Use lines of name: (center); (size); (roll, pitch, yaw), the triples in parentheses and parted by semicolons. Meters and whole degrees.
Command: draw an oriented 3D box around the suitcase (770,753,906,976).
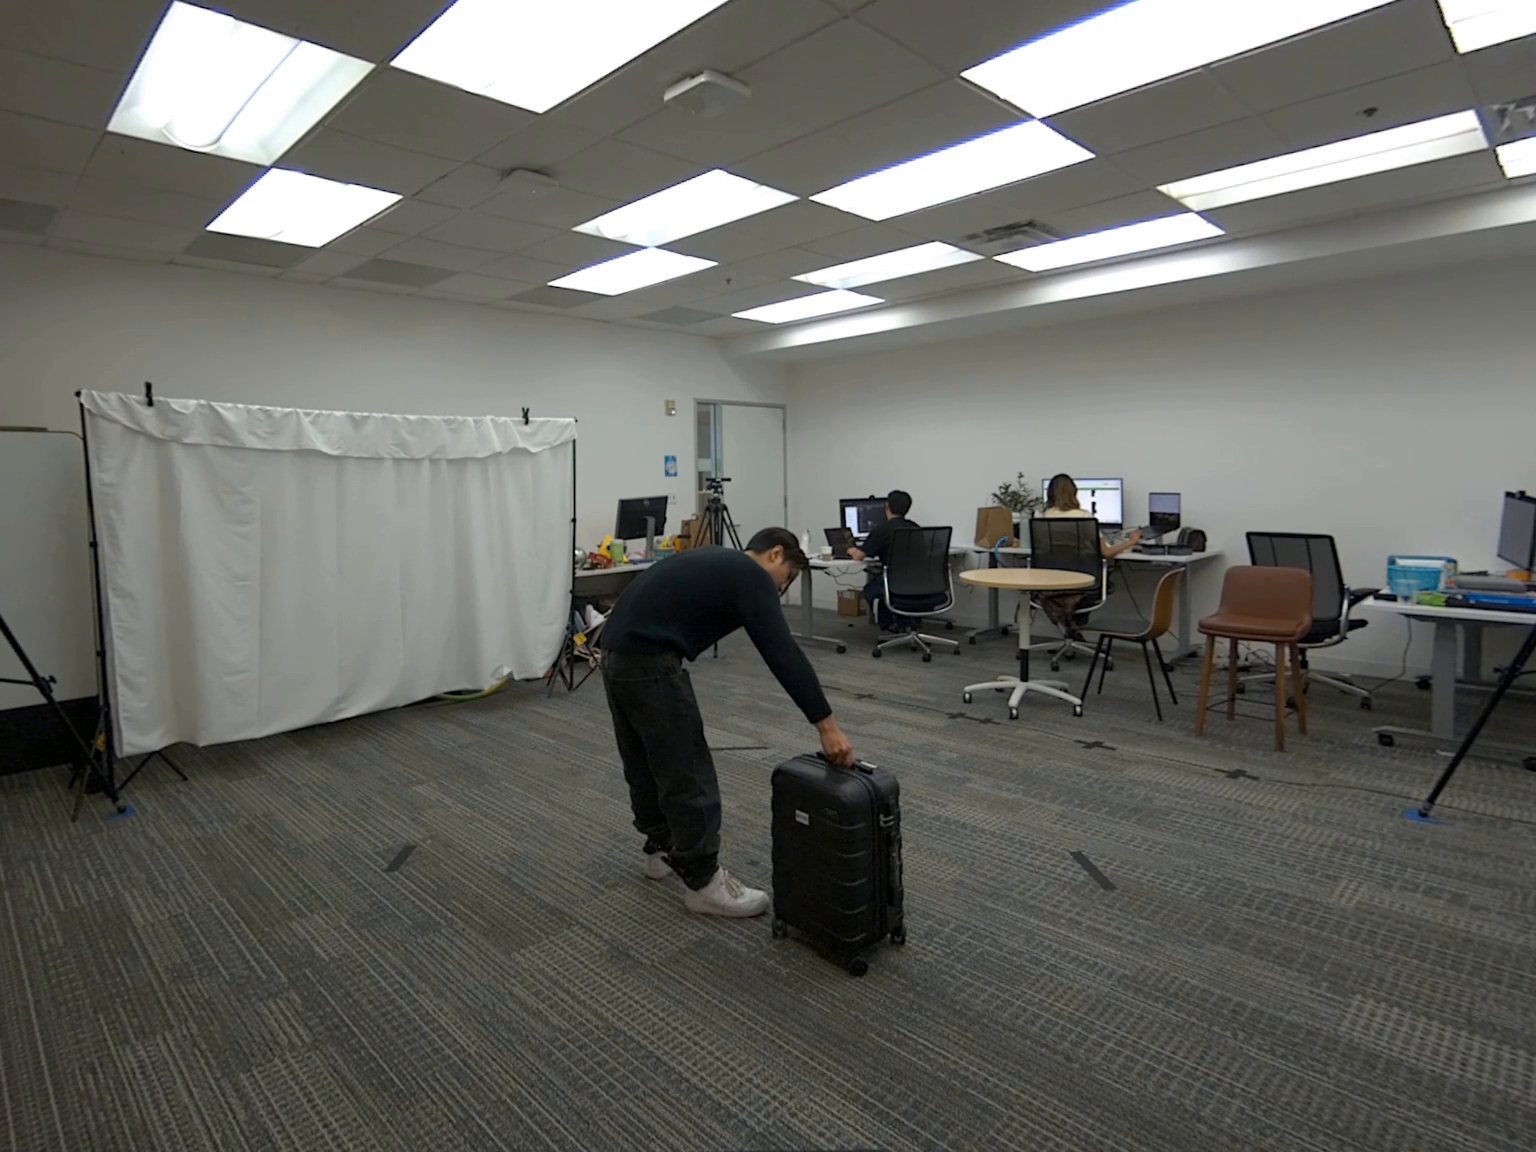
suitcase: (0.212, 0.826, 2.555); (0.242, 0.547, 0.387); (-6, 6, -41)
